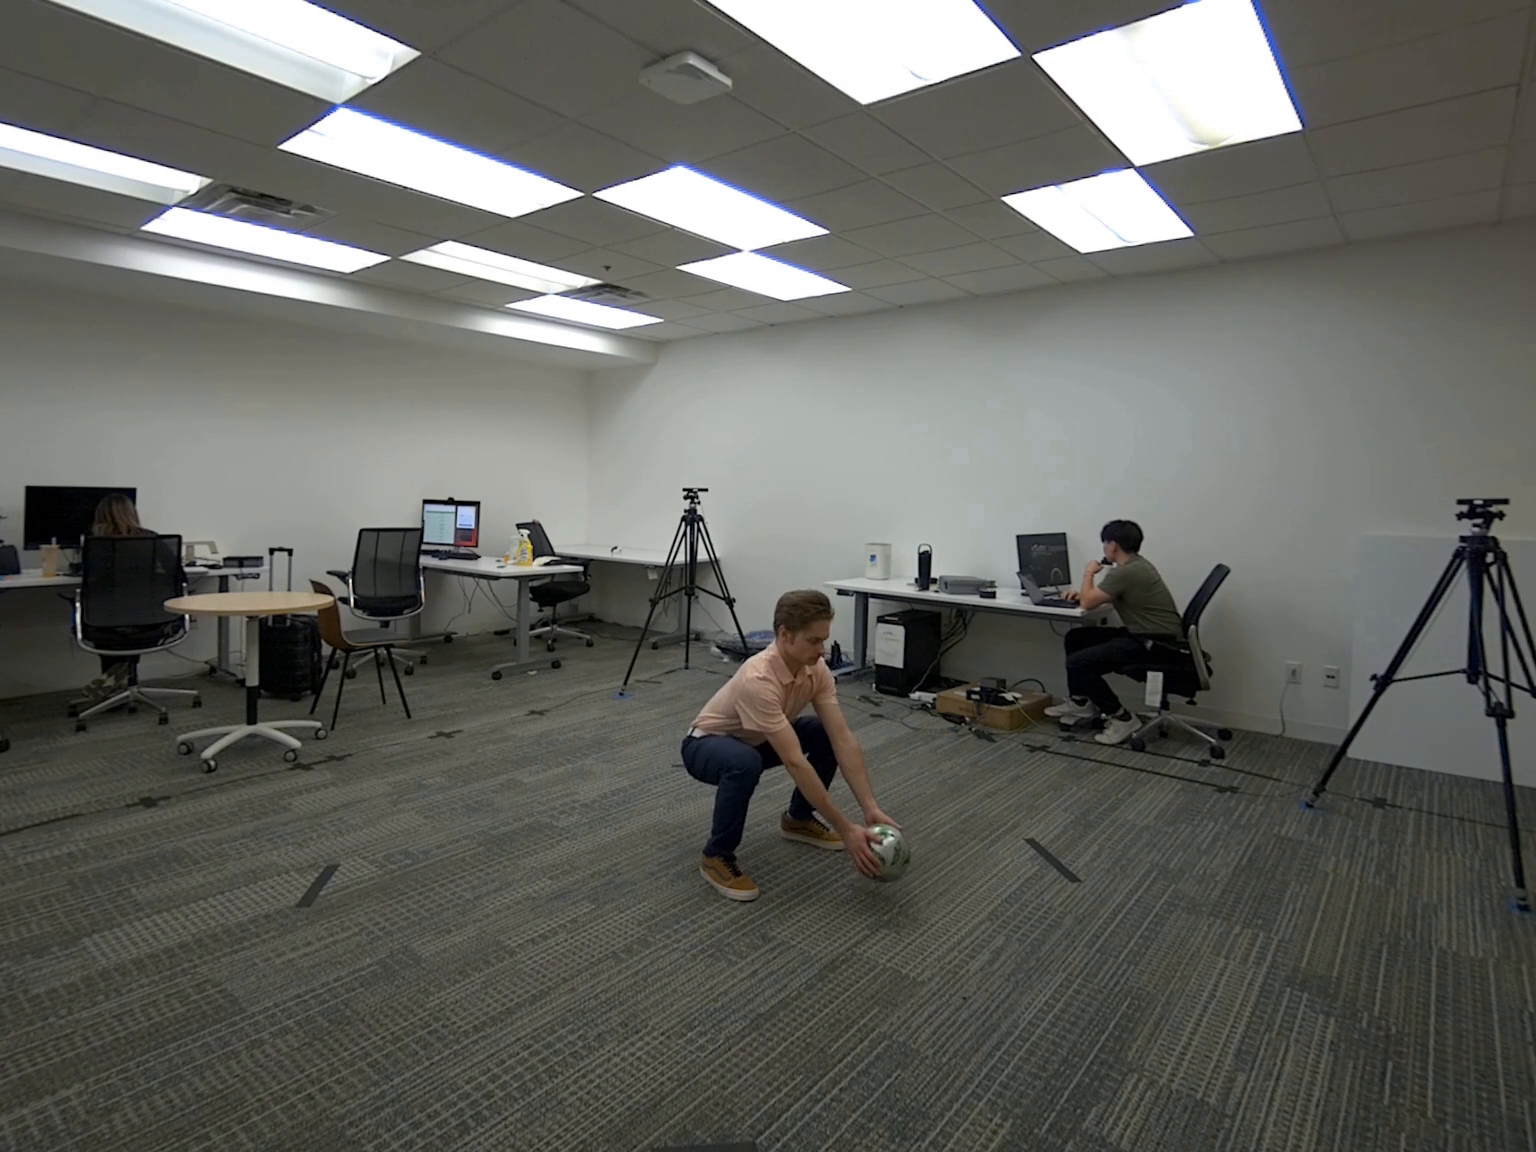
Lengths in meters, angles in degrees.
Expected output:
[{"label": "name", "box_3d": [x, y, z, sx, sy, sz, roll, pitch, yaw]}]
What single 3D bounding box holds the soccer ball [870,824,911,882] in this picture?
[{"label": "soccer ball", "box_3d": [0.372, 0.932, 2.877, 0.187, 0.187, 0.188, 1, 4, -2]}]
